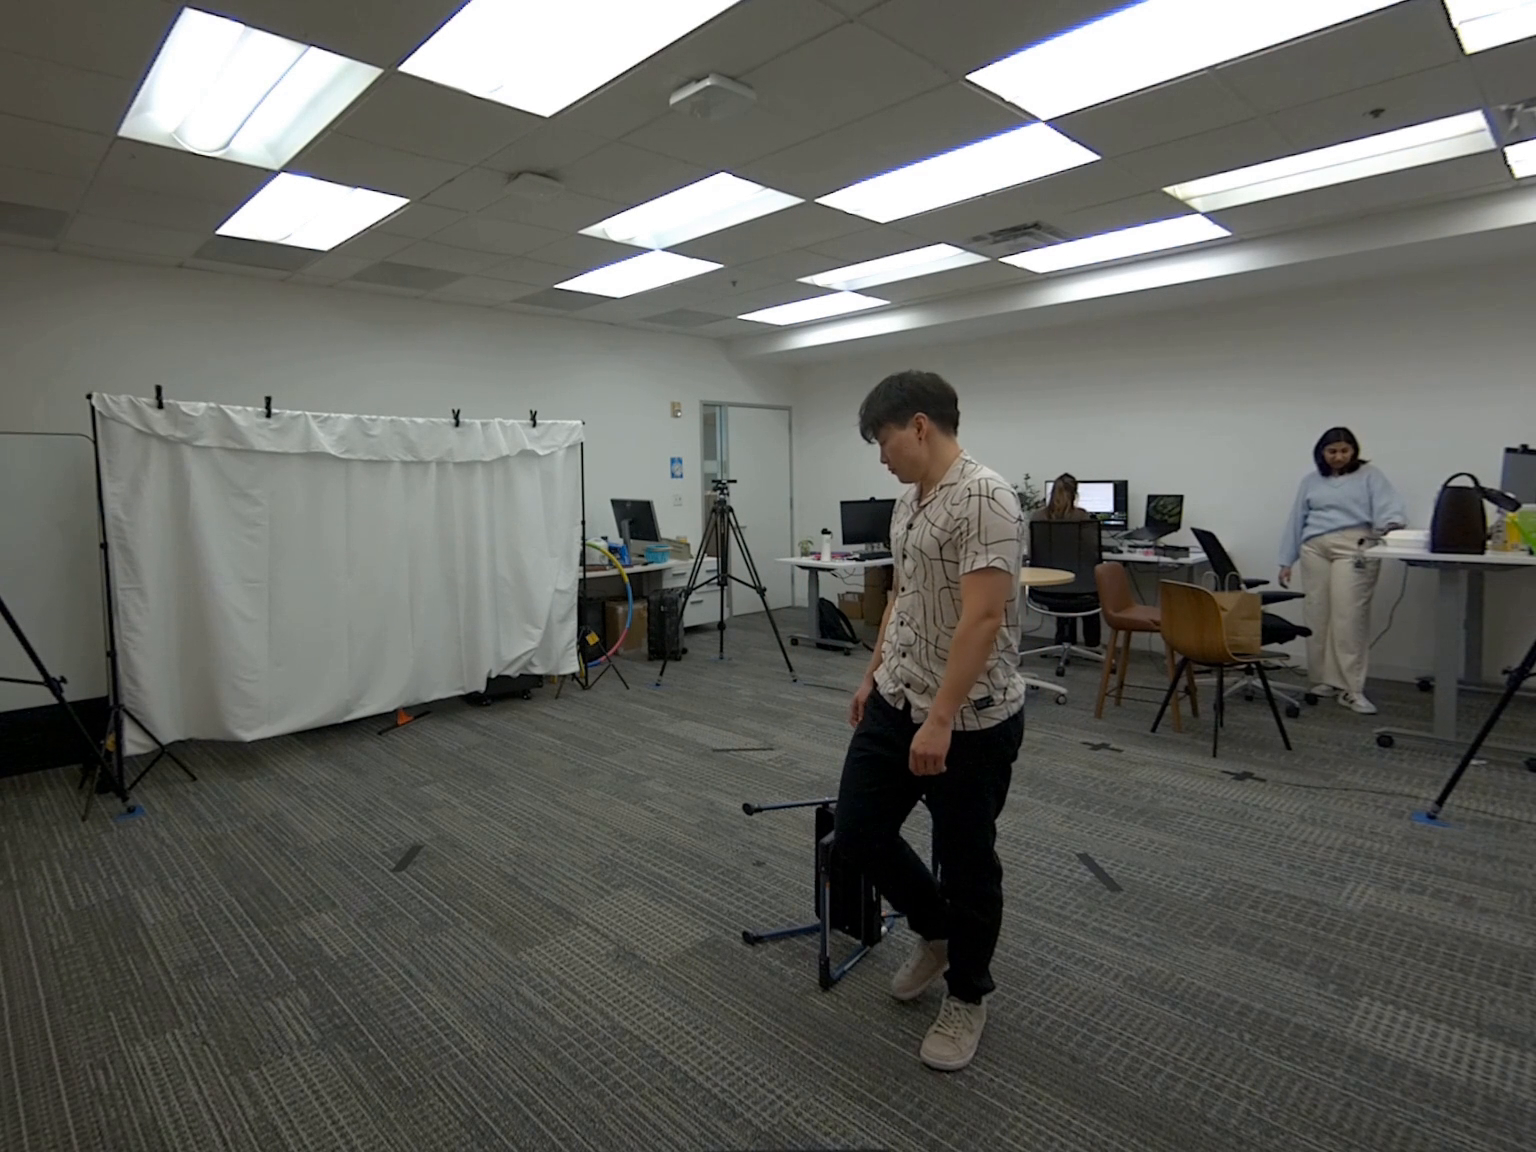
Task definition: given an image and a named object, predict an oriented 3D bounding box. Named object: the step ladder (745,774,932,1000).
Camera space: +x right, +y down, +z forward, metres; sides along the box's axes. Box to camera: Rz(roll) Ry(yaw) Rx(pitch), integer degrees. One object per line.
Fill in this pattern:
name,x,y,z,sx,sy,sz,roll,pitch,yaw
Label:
step ladder,0.273,0.889,2.625,0.590,0.429,0.360,-5,7,-39
